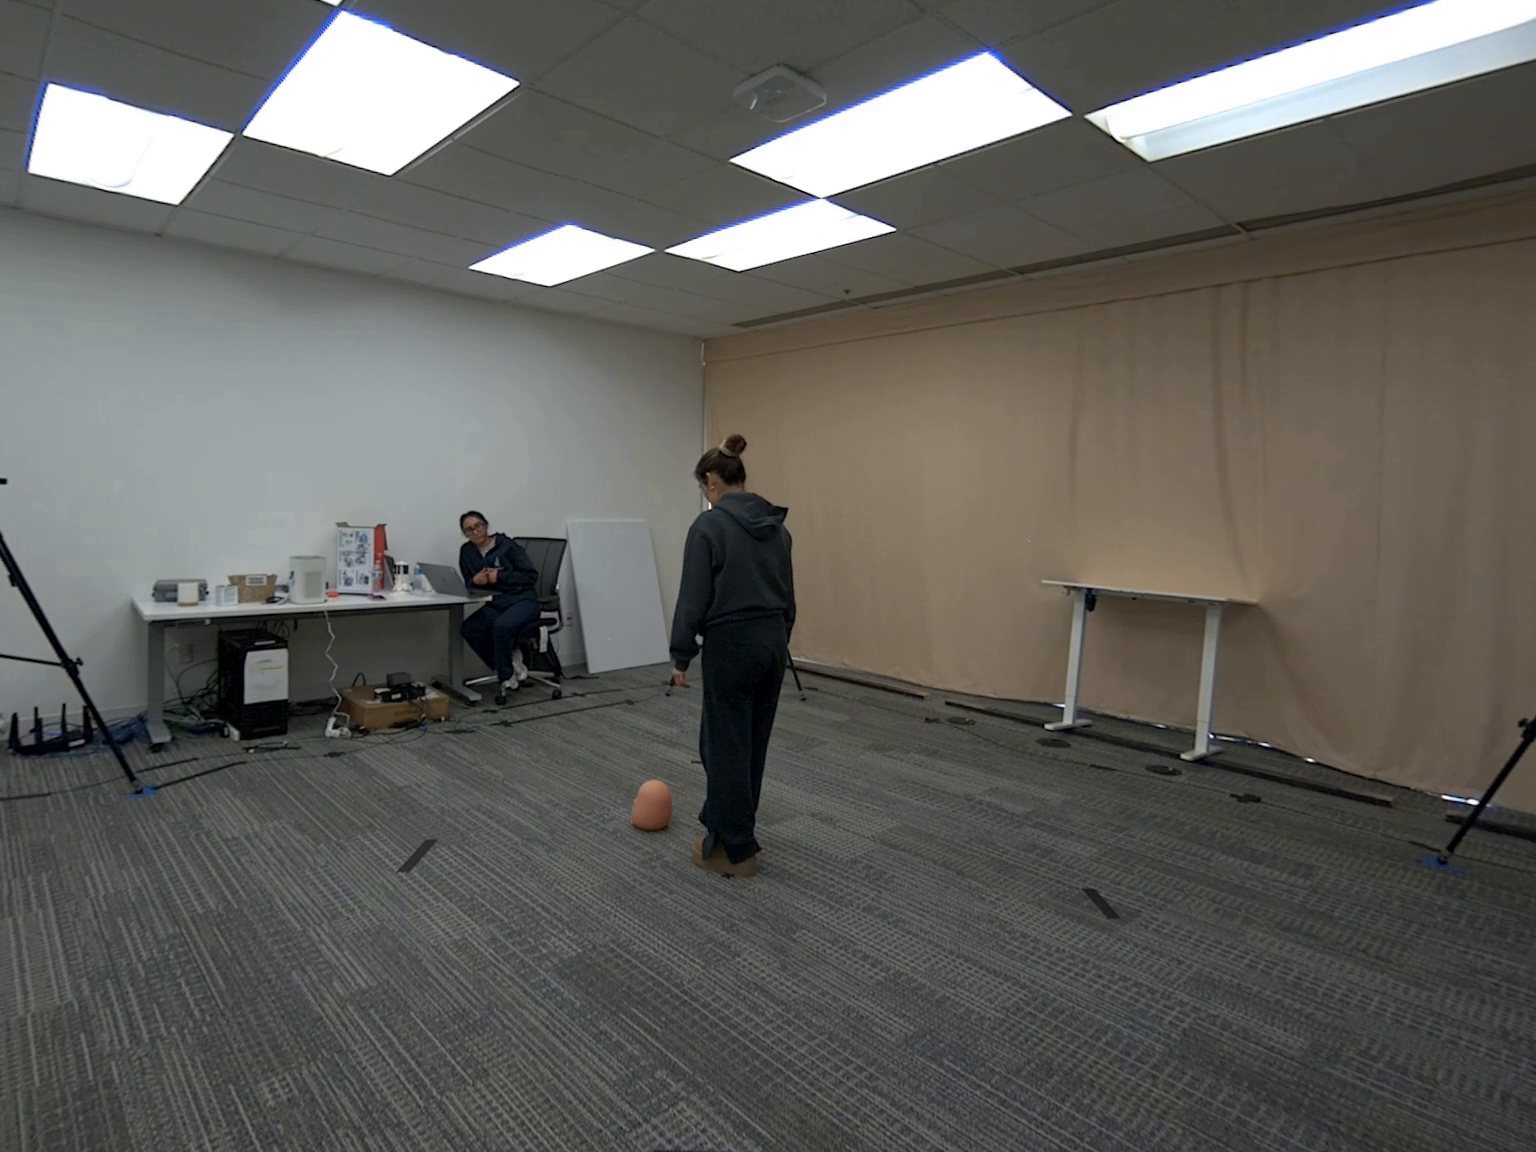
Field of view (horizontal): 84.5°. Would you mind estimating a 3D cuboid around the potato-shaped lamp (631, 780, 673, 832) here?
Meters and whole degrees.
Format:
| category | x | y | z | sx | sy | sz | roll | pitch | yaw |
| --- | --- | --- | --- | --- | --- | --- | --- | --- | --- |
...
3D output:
| category | x | y | z | sx | sy | sz | roll | pitch | yaw |
| --- | --- | --- | --- | --- | --- | --- | --- | --- | --- |
| potato-shaped lamp | -0.503 | 0.960 | 3.560 | 0.176 | 0.197 | 0.161 | 5 | 6 | 43 |
